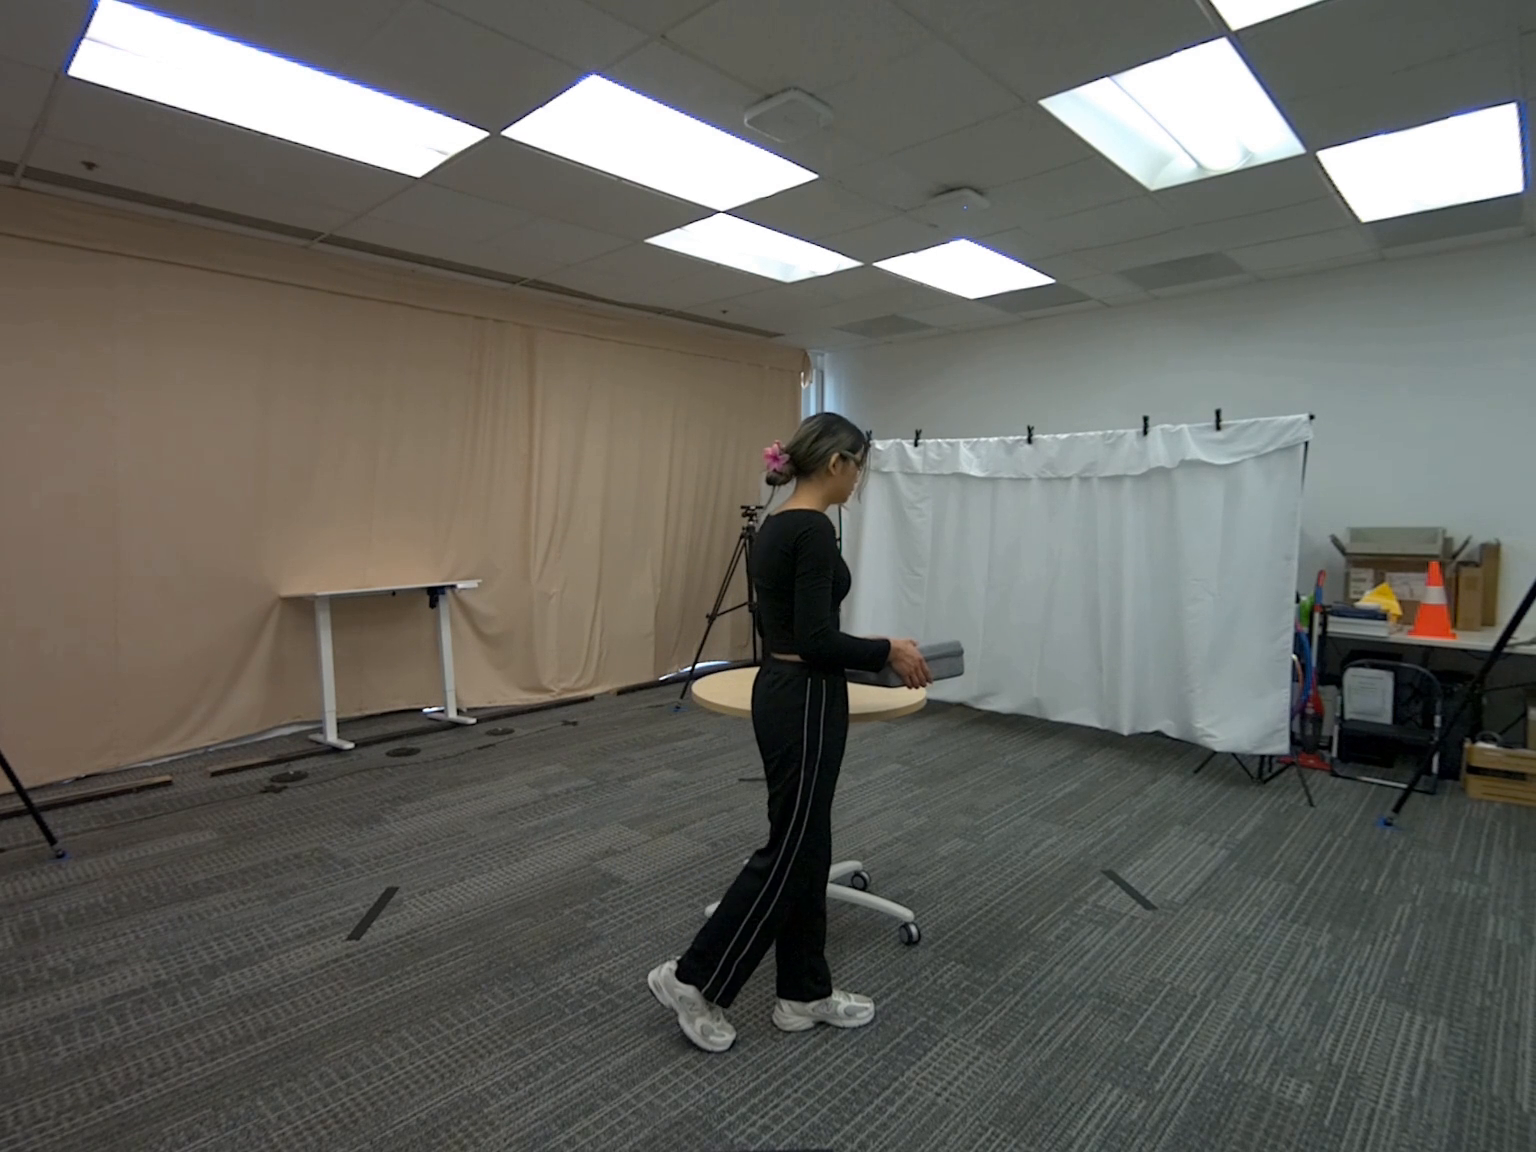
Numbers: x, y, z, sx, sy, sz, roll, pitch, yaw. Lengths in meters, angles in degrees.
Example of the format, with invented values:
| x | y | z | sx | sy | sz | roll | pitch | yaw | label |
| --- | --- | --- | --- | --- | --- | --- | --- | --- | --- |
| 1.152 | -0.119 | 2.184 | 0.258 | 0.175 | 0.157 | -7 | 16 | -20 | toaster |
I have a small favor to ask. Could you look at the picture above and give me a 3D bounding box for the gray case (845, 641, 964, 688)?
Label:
| x | y | z | sx | sy | sz | roll | pitch | yaw | label |
| --- | --- | --- | --- | --- | --- | --- | --- | --- | --- |
| 0.361 | 0.228 | 2.328 | 0.258 | 0.104 | 0.259 | -5 | 3 | -9 | gray case |
